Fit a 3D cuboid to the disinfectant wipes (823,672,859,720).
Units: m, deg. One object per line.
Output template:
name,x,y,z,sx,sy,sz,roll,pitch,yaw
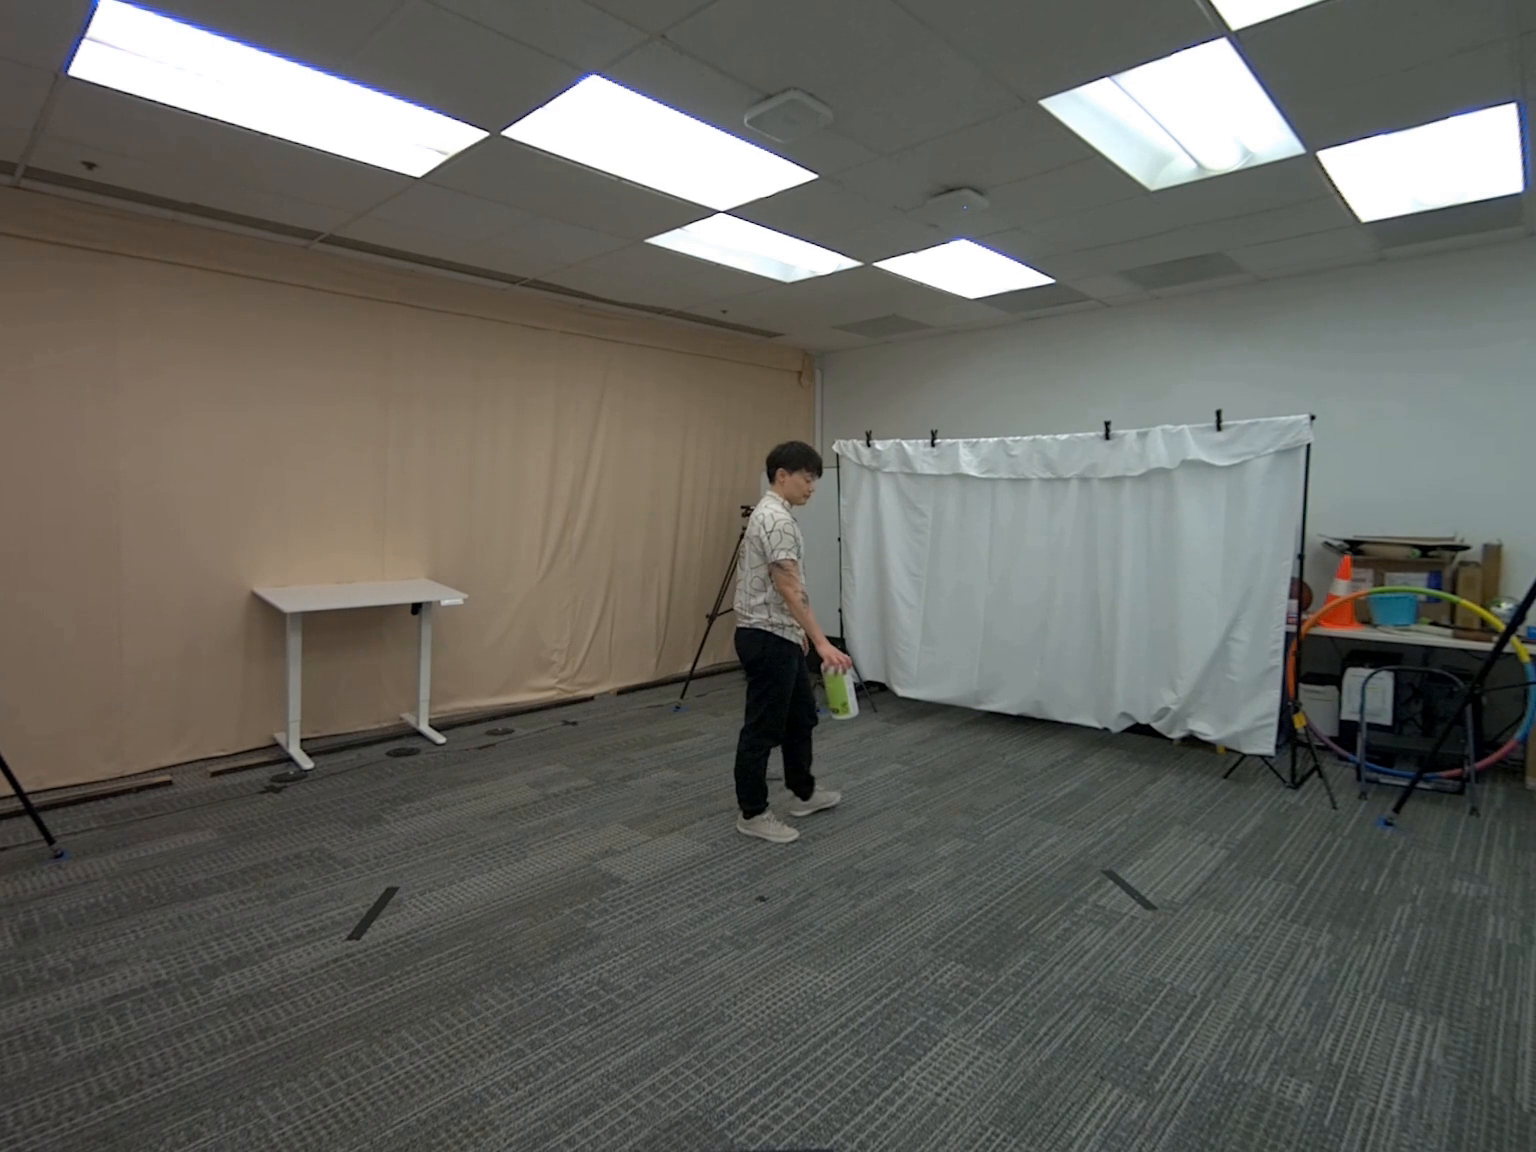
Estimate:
disinfectant wipes,0.266,0.439,3.274,0.118,0.216,0.118,-12,9,0
